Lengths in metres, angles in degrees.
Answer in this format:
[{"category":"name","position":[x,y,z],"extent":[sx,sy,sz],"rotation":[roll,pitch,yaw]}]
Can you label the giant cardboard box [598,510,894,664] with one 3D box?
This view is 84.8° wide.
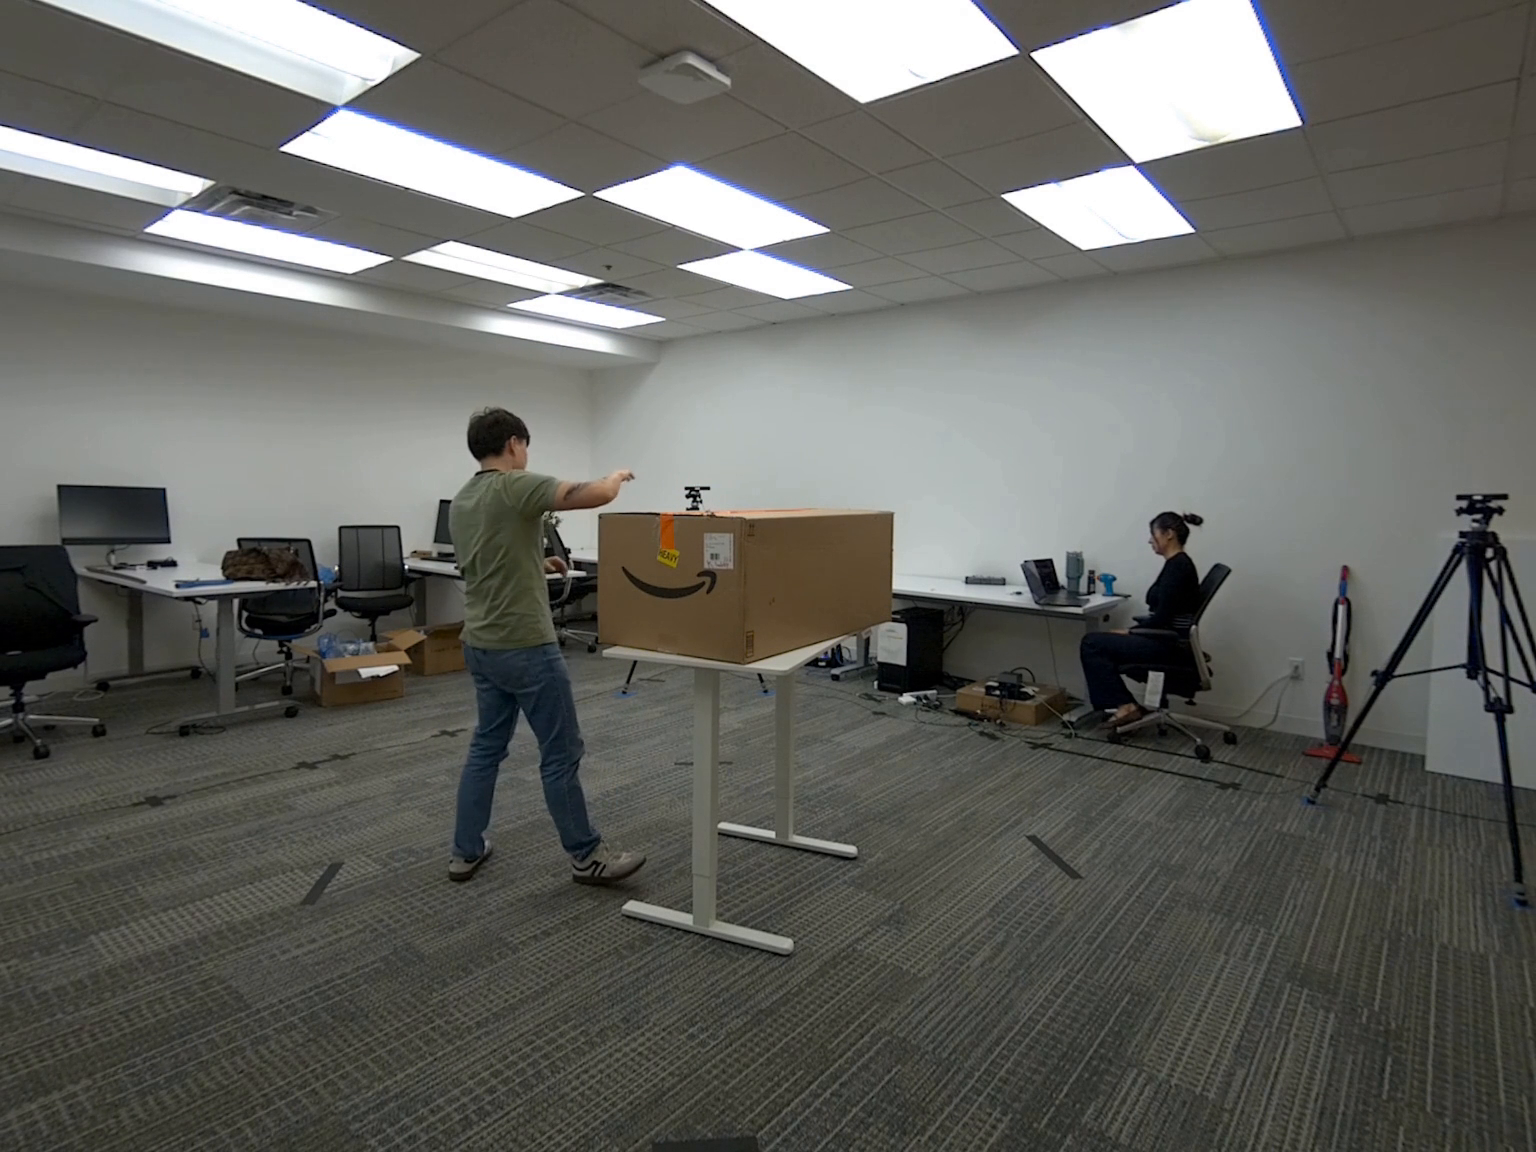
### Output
[{"category":"giant cardboard box","position":[-0.043,-0.015,2.995],"extent":[0.595,0.424,0.999],"rotation":[3,6,33]}]
